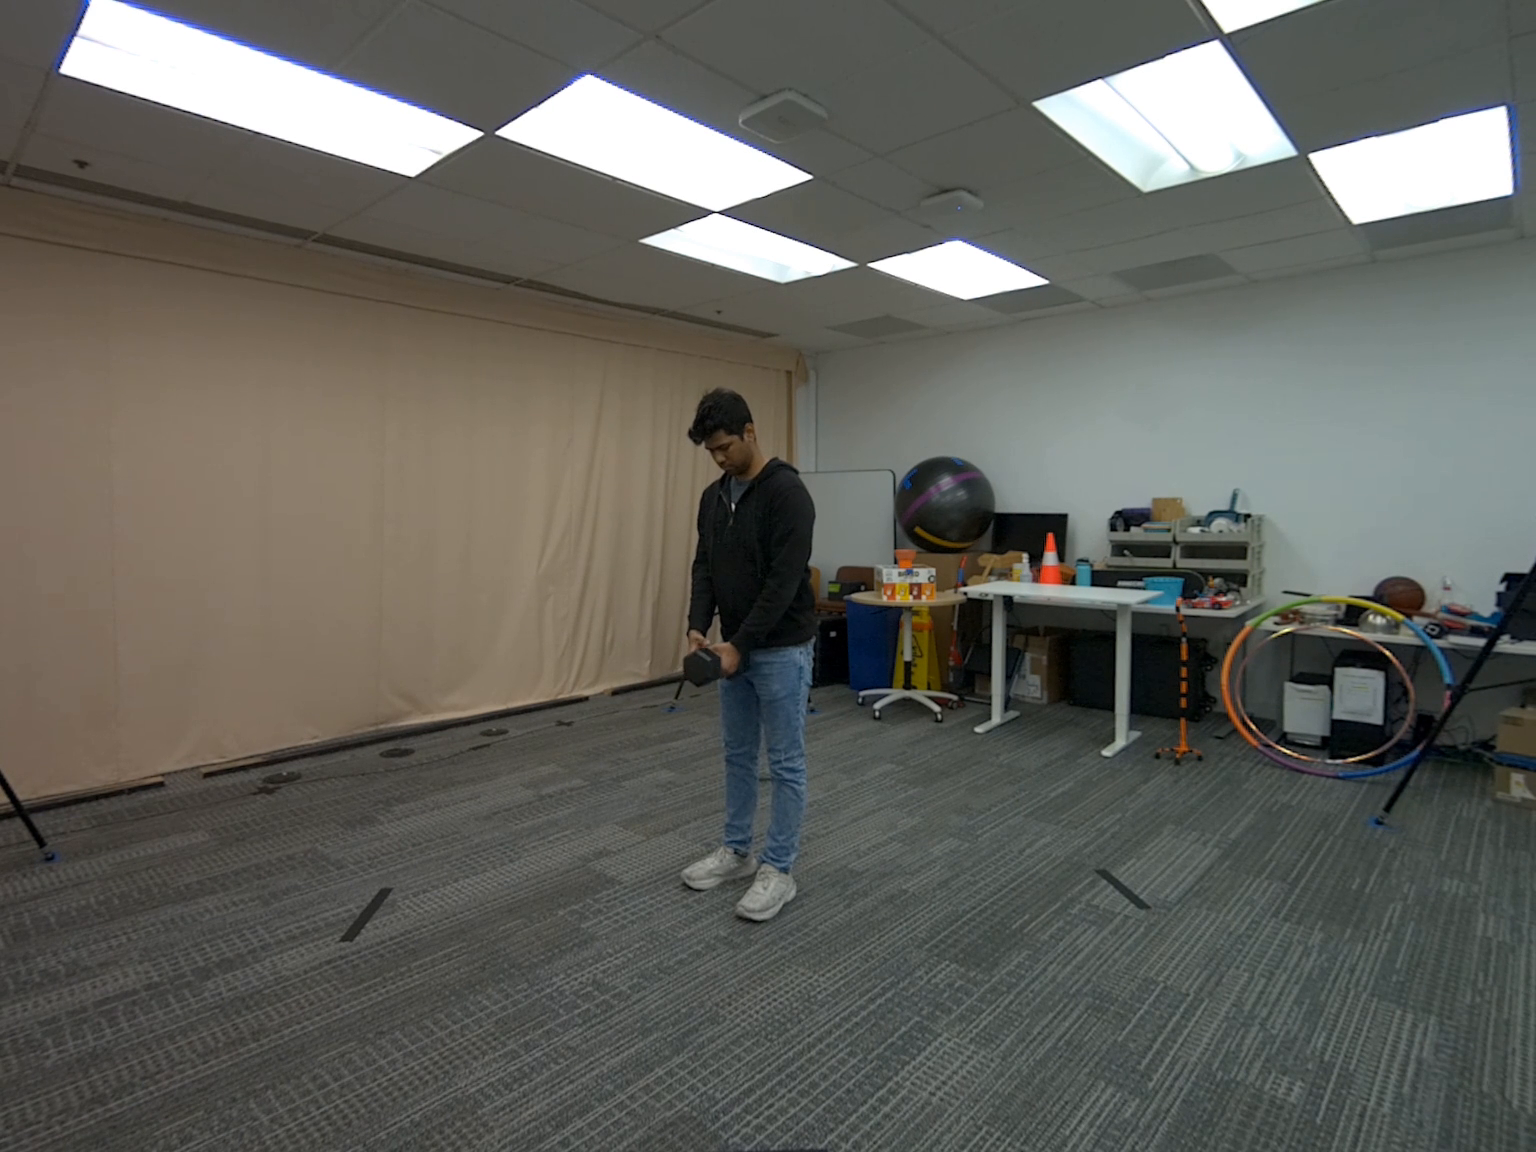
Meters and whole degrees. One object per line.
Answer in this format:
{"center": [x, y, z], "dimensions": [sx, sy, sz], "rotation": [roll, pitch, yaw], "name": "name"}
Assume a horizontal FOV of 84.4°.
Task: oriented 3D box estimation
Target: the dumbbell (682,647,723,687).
{"center": [-0.160, 0.298, 2.779], "dimensions": [0.124, 0.110, 0.286], "rotation": [-35, -14, 21], "name": "dumbbell"}
